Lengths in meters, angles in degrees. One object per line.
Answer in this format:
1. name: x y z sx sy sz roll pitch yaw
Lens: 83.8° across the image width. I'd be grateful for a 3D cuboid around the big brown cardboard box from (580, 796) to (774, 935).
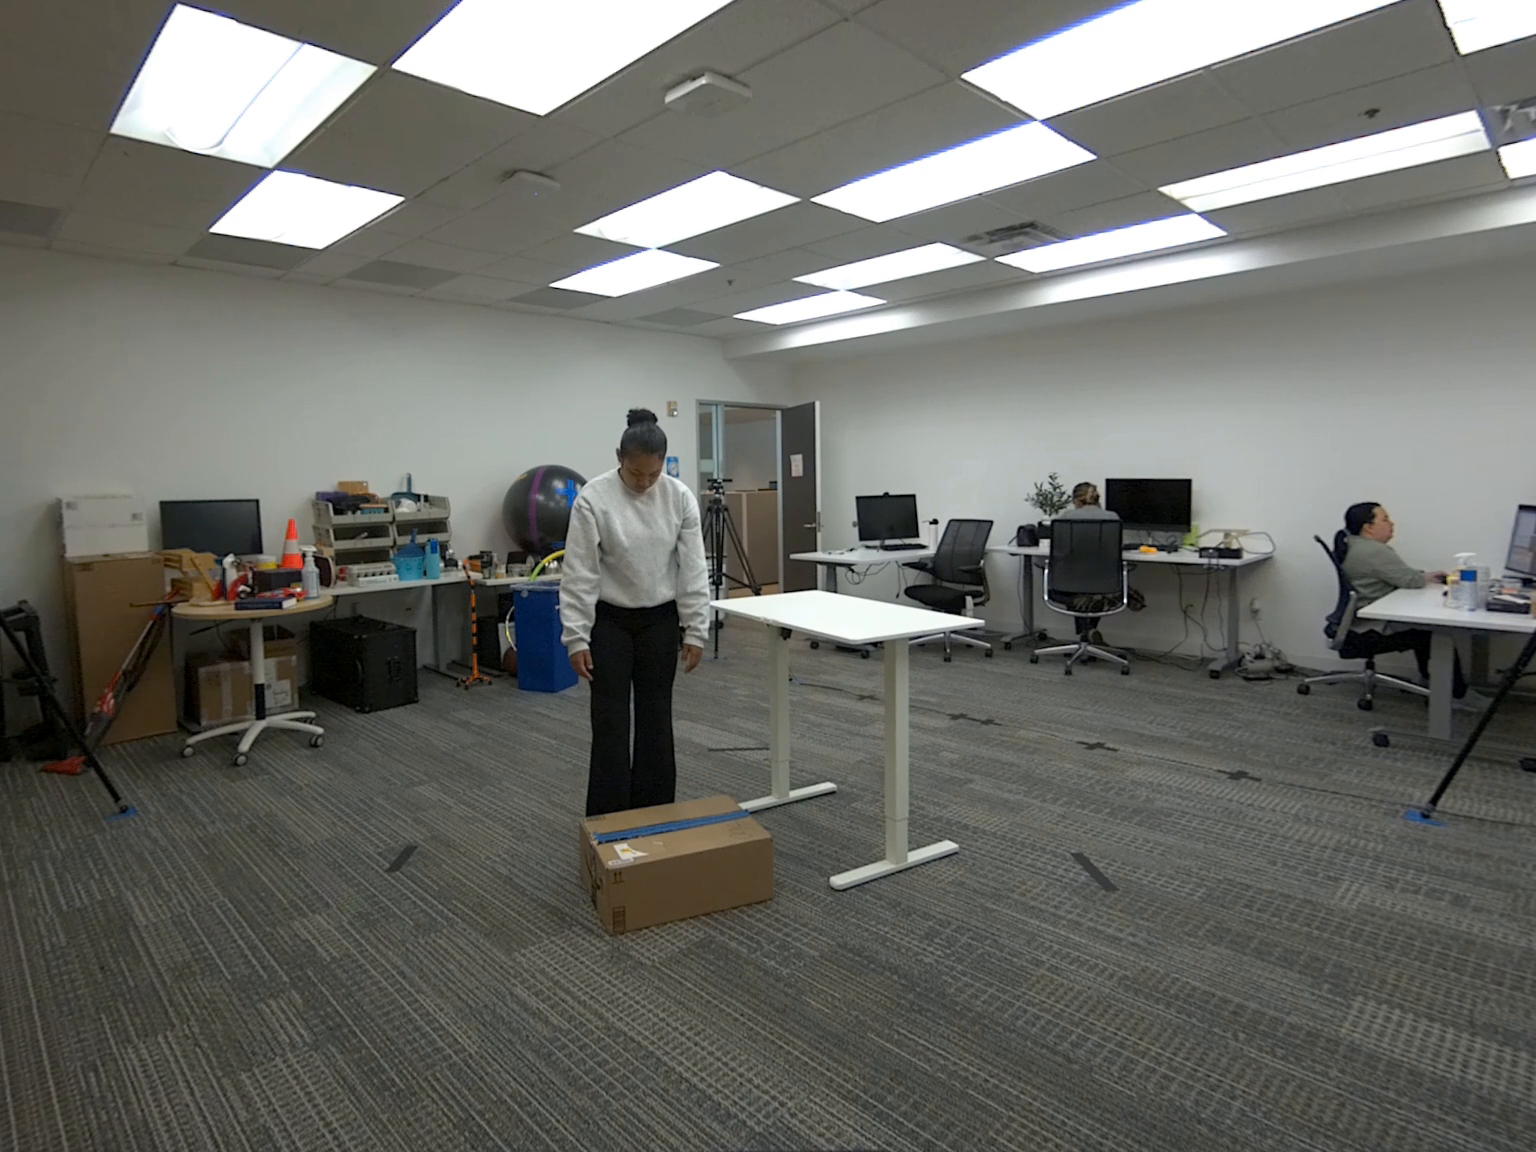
1. big brown cardboard box: -0.321 0.961 2.914 0.577 0.232 0.428 -3 6 -24
